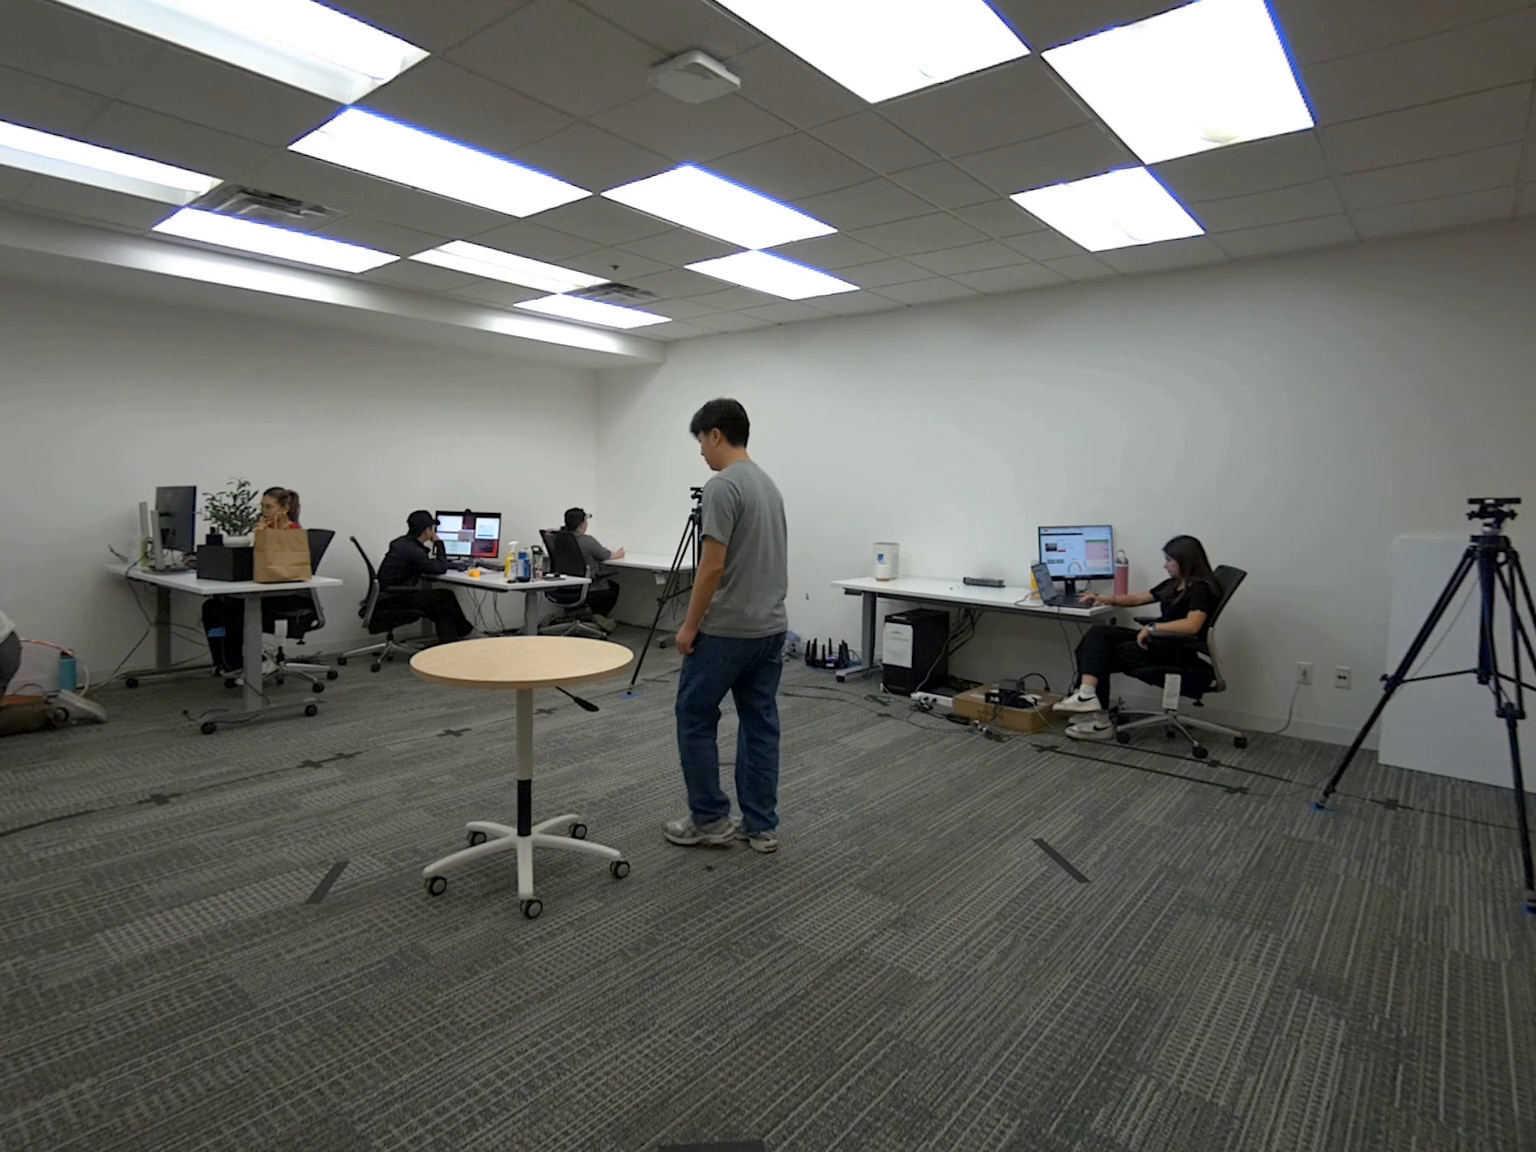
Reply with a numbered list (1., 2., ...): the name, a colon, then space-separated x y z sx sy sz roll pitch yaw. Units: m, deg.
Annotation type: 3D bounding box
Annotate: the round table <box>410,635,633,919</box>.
1. round table: -0.878 0.674 3.025 0.763 0.791 0.768 1 4 -2
